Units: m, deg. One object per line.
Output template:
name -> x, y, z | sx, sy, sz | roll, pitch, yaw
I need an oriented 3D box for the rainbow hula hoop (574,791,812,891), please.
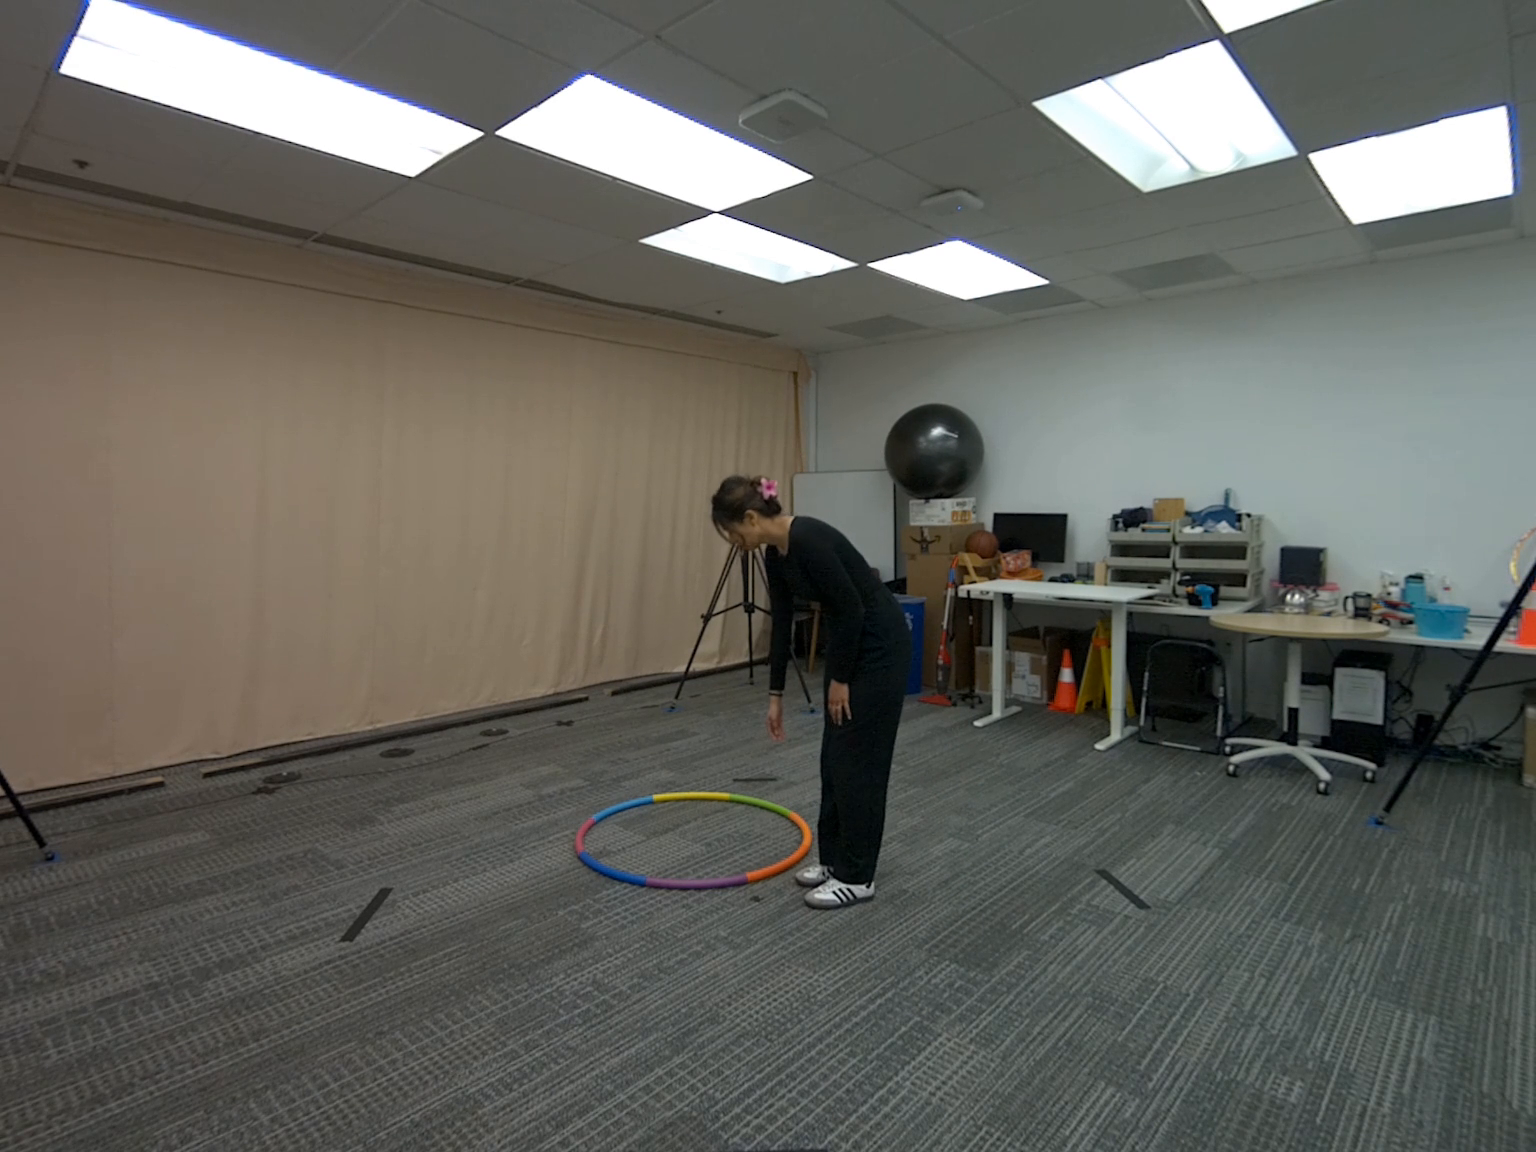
rainbow hula hoop -> -0.312, 1.071, 3.532 | 0.978, 0.035, 0.982 | -1, 5, -2
